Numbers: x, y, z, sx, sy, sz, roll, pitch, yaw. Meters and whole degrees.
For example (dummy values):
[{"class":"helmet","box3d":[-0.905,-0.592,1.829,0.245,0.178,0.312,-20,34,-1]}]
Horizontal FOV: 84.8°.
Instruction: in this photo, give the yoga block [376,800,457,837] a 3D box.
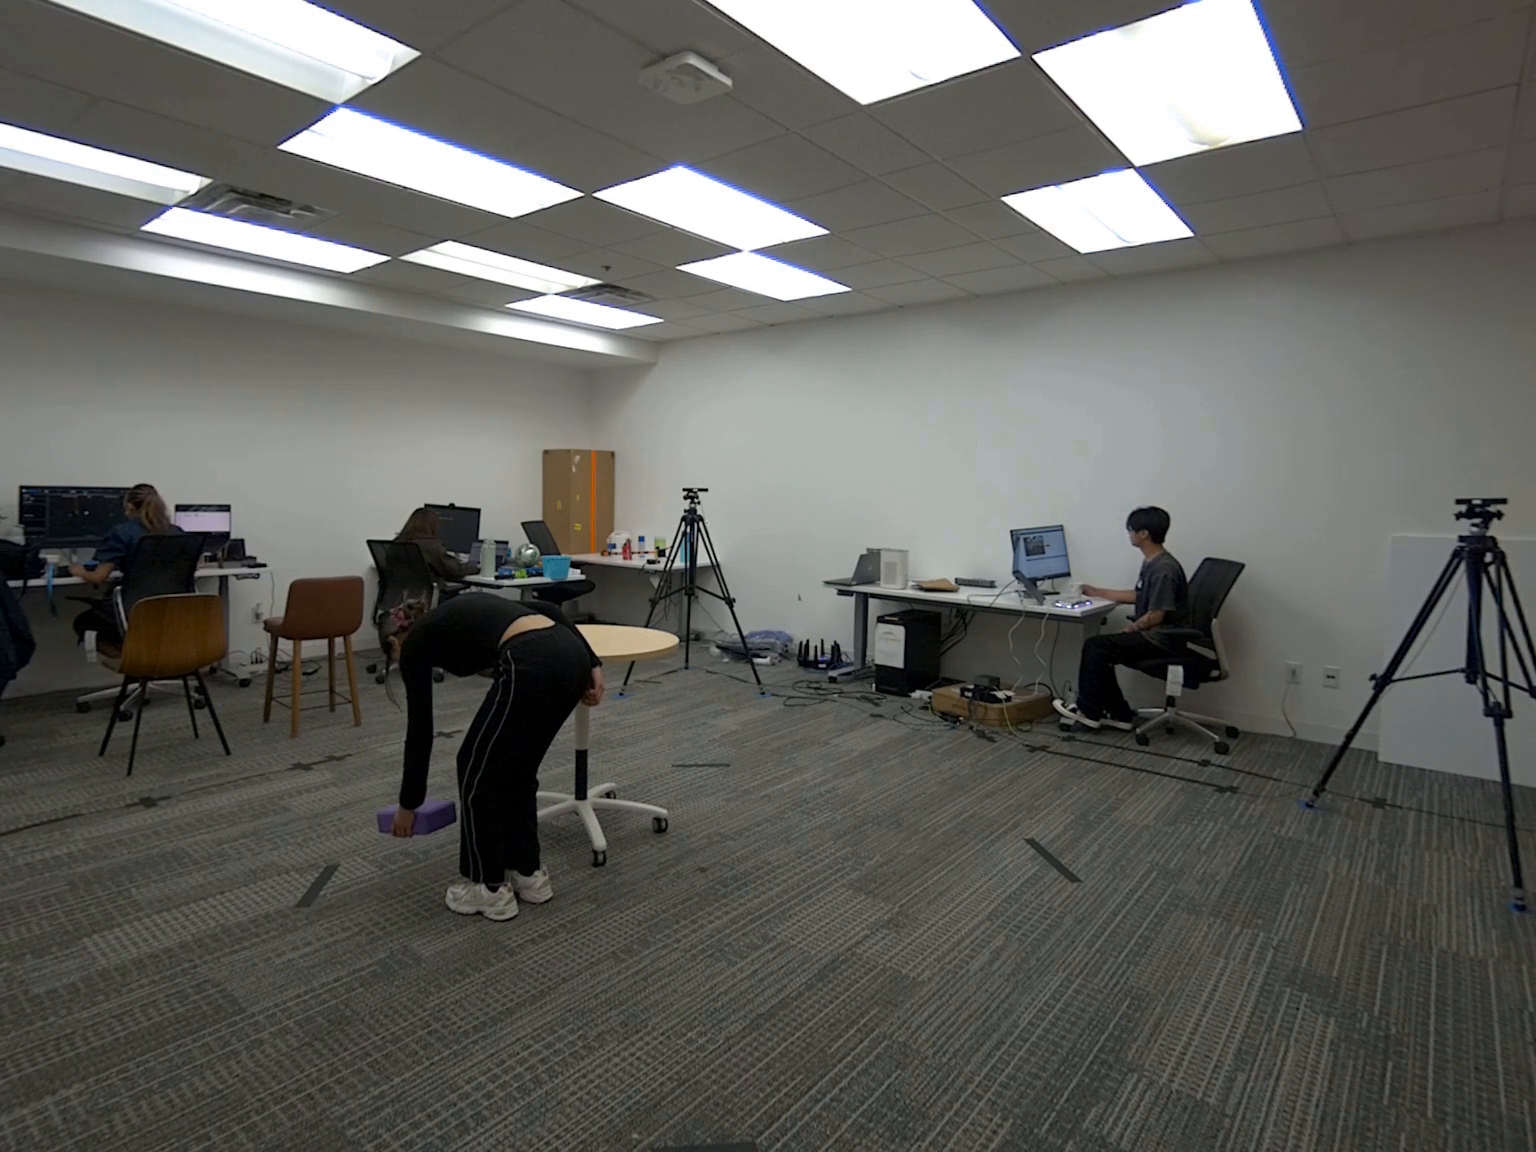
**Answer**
[{"class":"yoga block","box3d":[-1.212,0.818,2.900,0.234,0.076,0.146,-7,0,23]}]
